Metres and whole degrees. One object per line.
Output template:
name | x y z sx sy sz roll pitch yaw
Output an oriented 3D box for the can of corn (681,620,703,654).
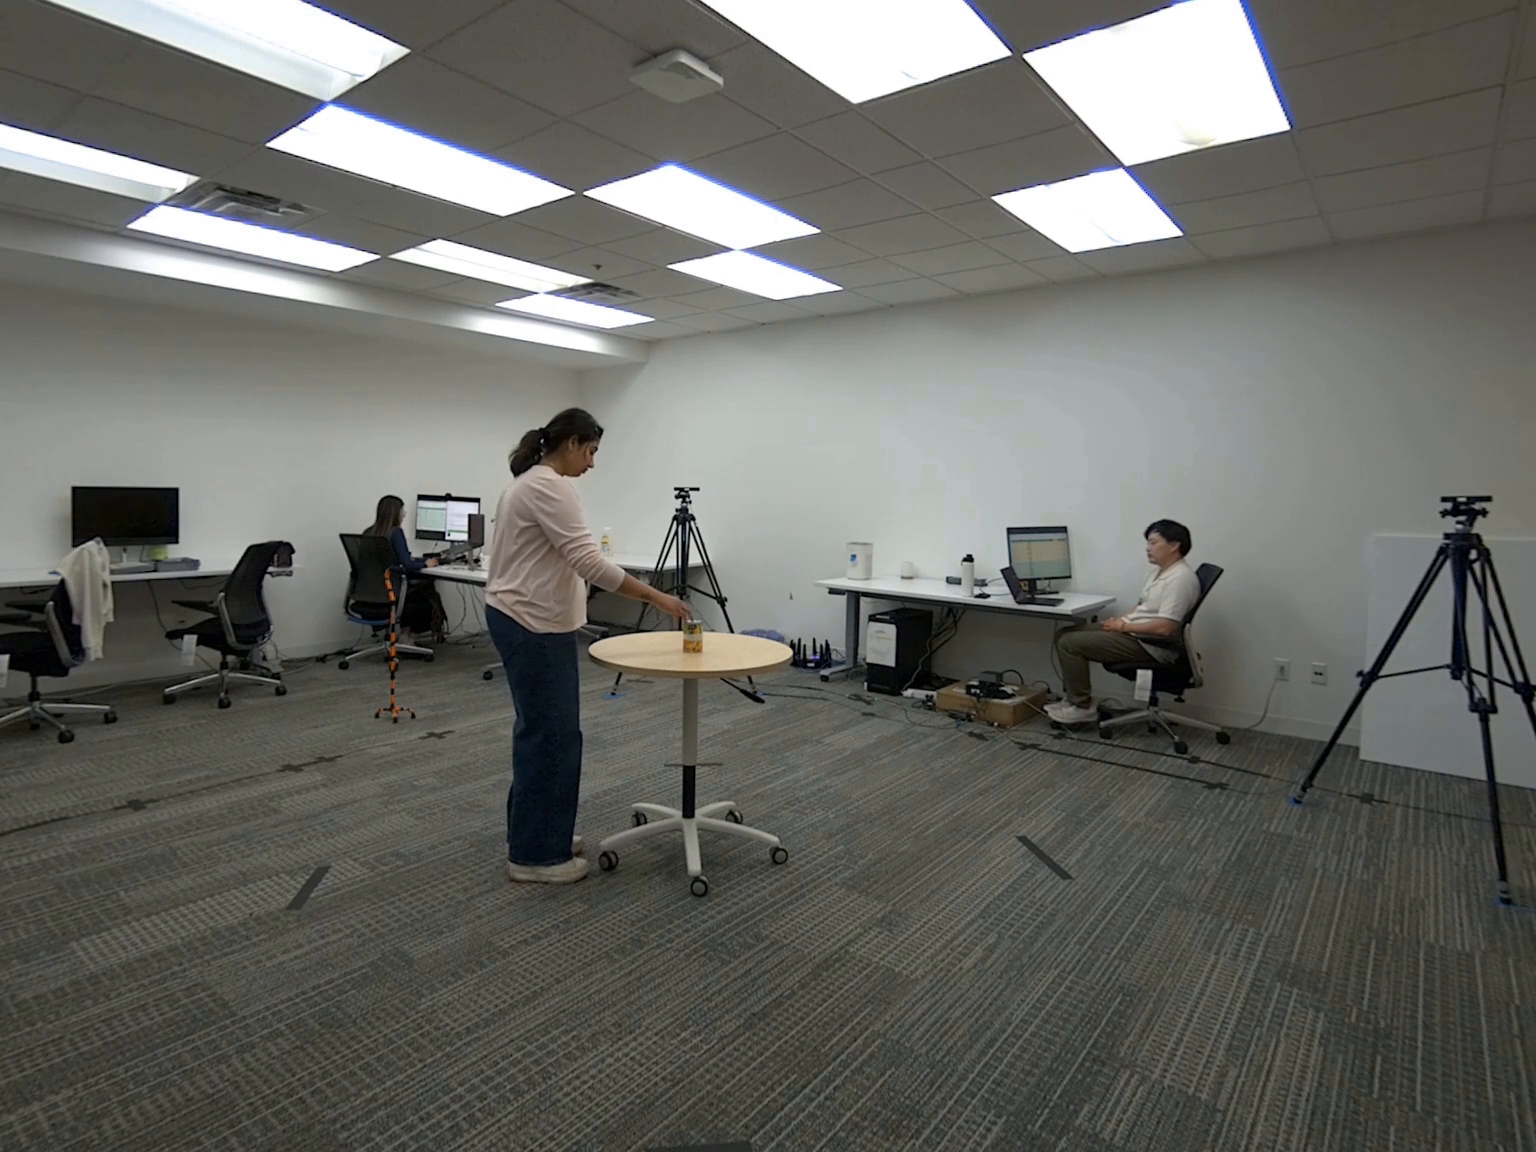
can of corn | -0.289 0.221 3.153 0.074 0.110 0.074 3 5 -2
